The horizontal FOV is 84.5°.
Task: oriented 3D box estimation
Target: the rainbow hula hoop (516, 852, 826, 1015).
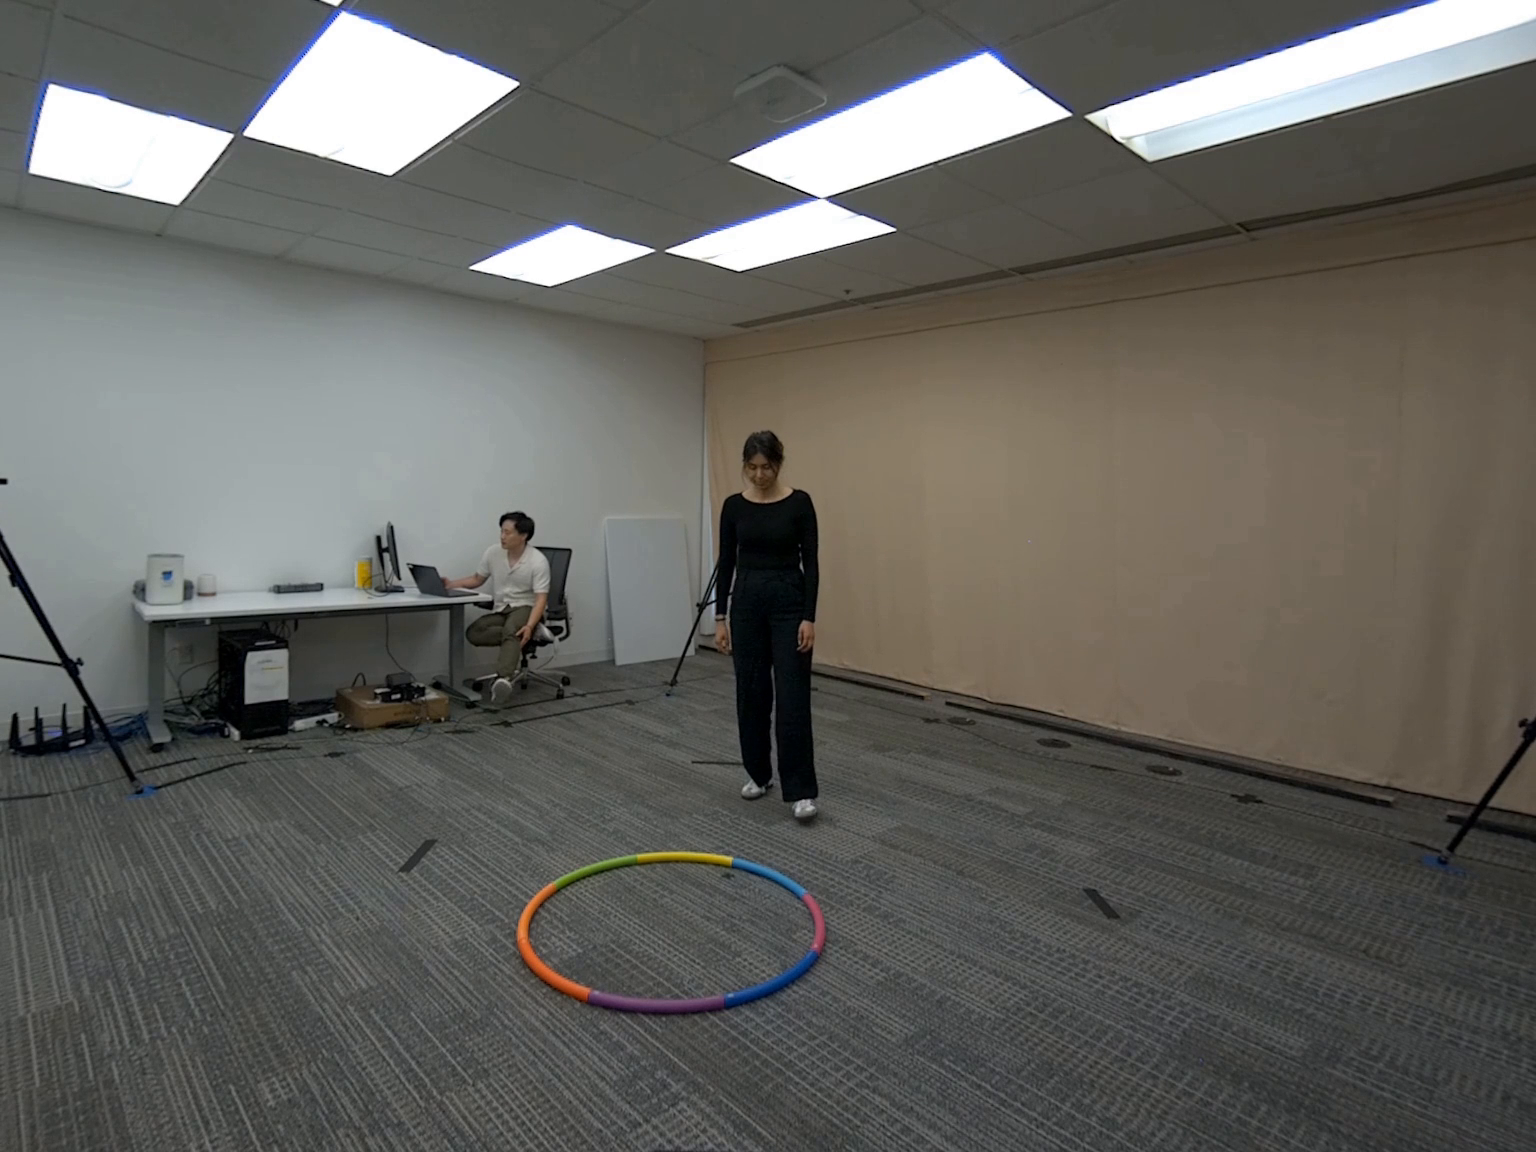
[{"bbox_3d":[-0.309,1.106,2.745,0.978,0.035,0.982,1,5,-1],"label":"rainbow hula hoop"}]
